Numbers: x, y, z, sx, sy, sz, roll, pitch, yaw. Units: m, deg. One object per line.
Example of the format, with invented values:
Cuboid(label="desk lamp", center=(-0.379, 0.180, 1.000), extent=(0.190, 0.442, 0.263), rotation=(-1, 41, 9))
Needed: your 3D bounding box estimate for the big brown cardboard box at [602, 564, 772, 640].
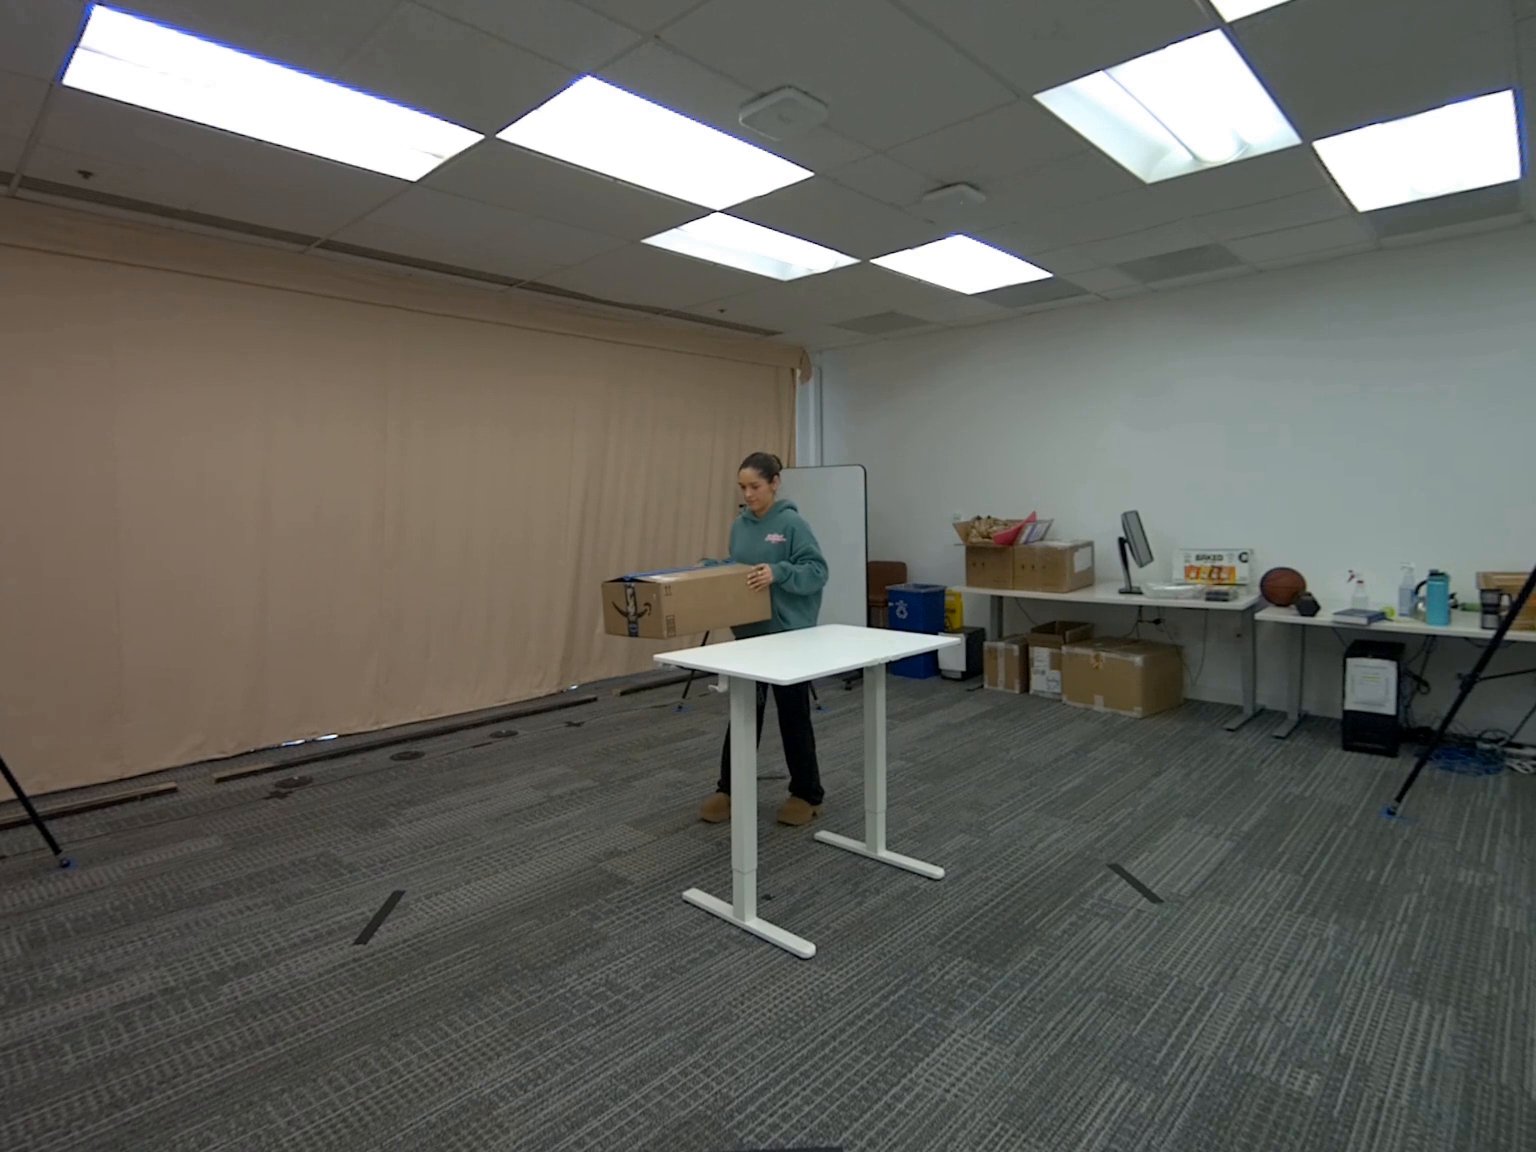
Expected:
Cuboid(label="big brown cardboard box", center=(-0.339, 0.097, 3.480), extent=(0.571, 0.233, 0.431), rotation=(-6, 4, -42))
